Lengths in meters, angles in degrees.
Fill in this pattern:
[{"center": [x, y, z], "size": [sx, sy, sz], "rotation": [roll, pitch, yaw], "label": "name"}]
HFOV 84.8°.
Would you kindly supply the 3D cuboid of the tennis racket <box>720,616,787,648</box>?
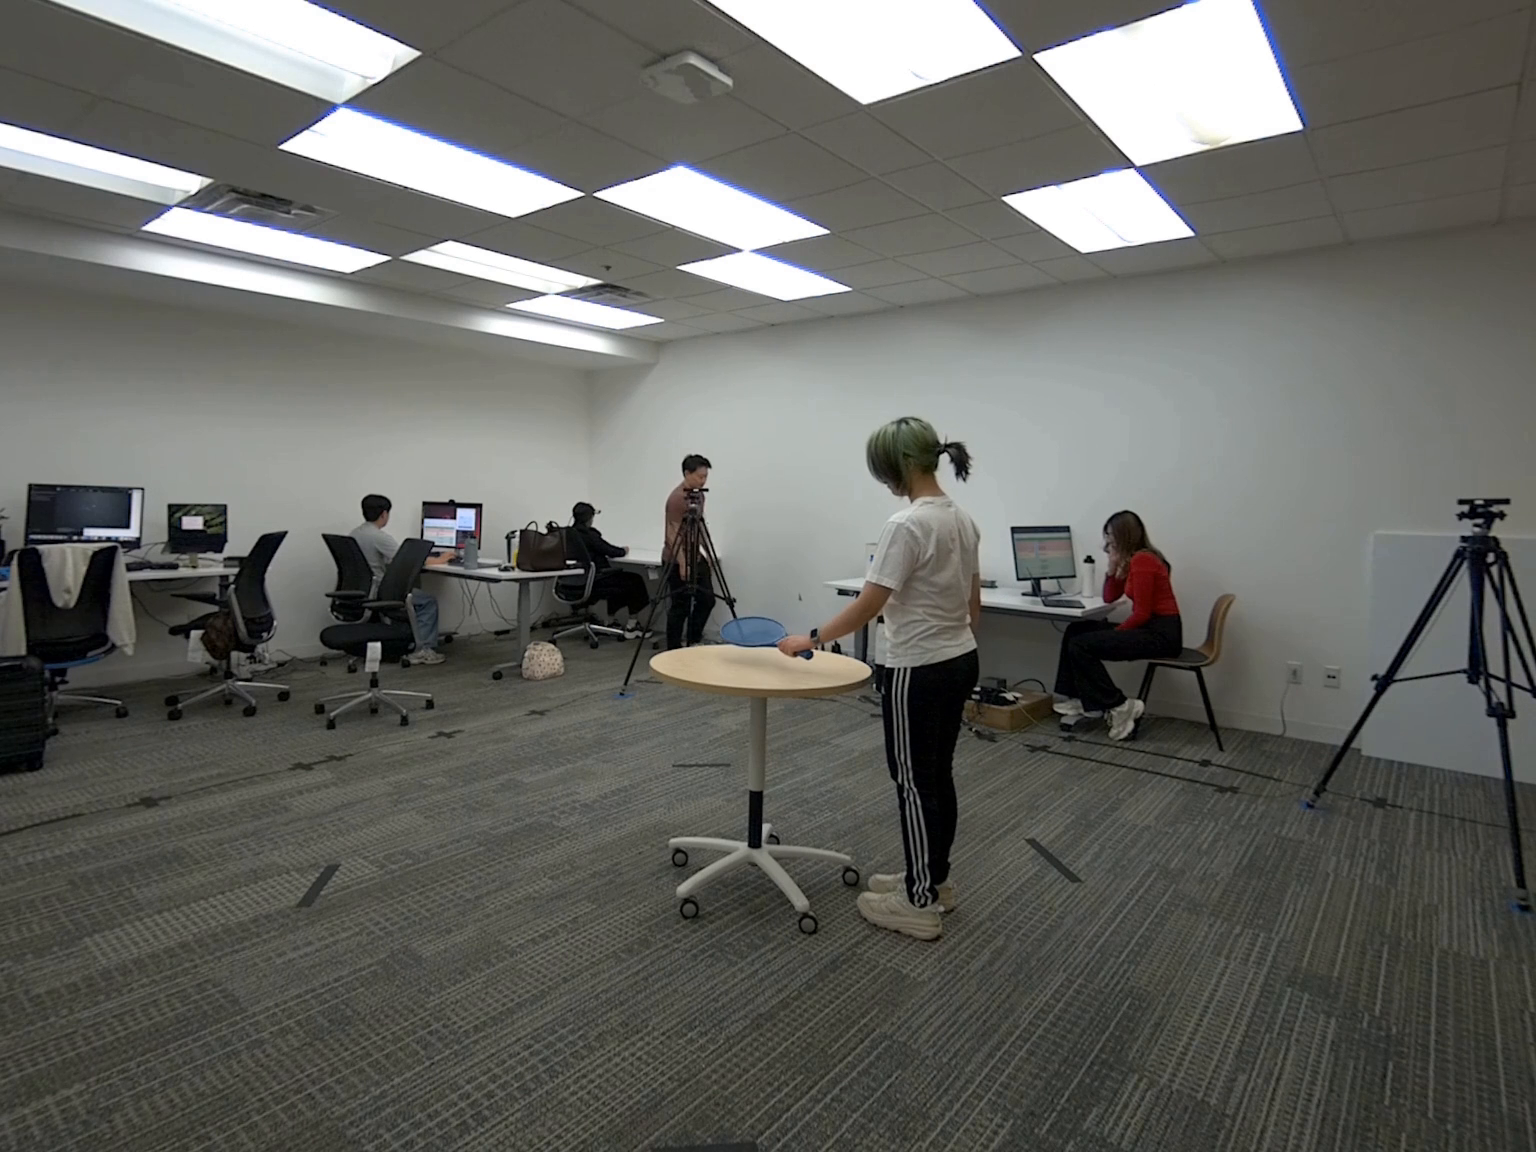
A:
[{"center": [0.008, 0.217, 2.962], "size": [0.209, 0.031, 0.449], "rotation": [-22, 22, -40], "label": "tennis racket"}]
